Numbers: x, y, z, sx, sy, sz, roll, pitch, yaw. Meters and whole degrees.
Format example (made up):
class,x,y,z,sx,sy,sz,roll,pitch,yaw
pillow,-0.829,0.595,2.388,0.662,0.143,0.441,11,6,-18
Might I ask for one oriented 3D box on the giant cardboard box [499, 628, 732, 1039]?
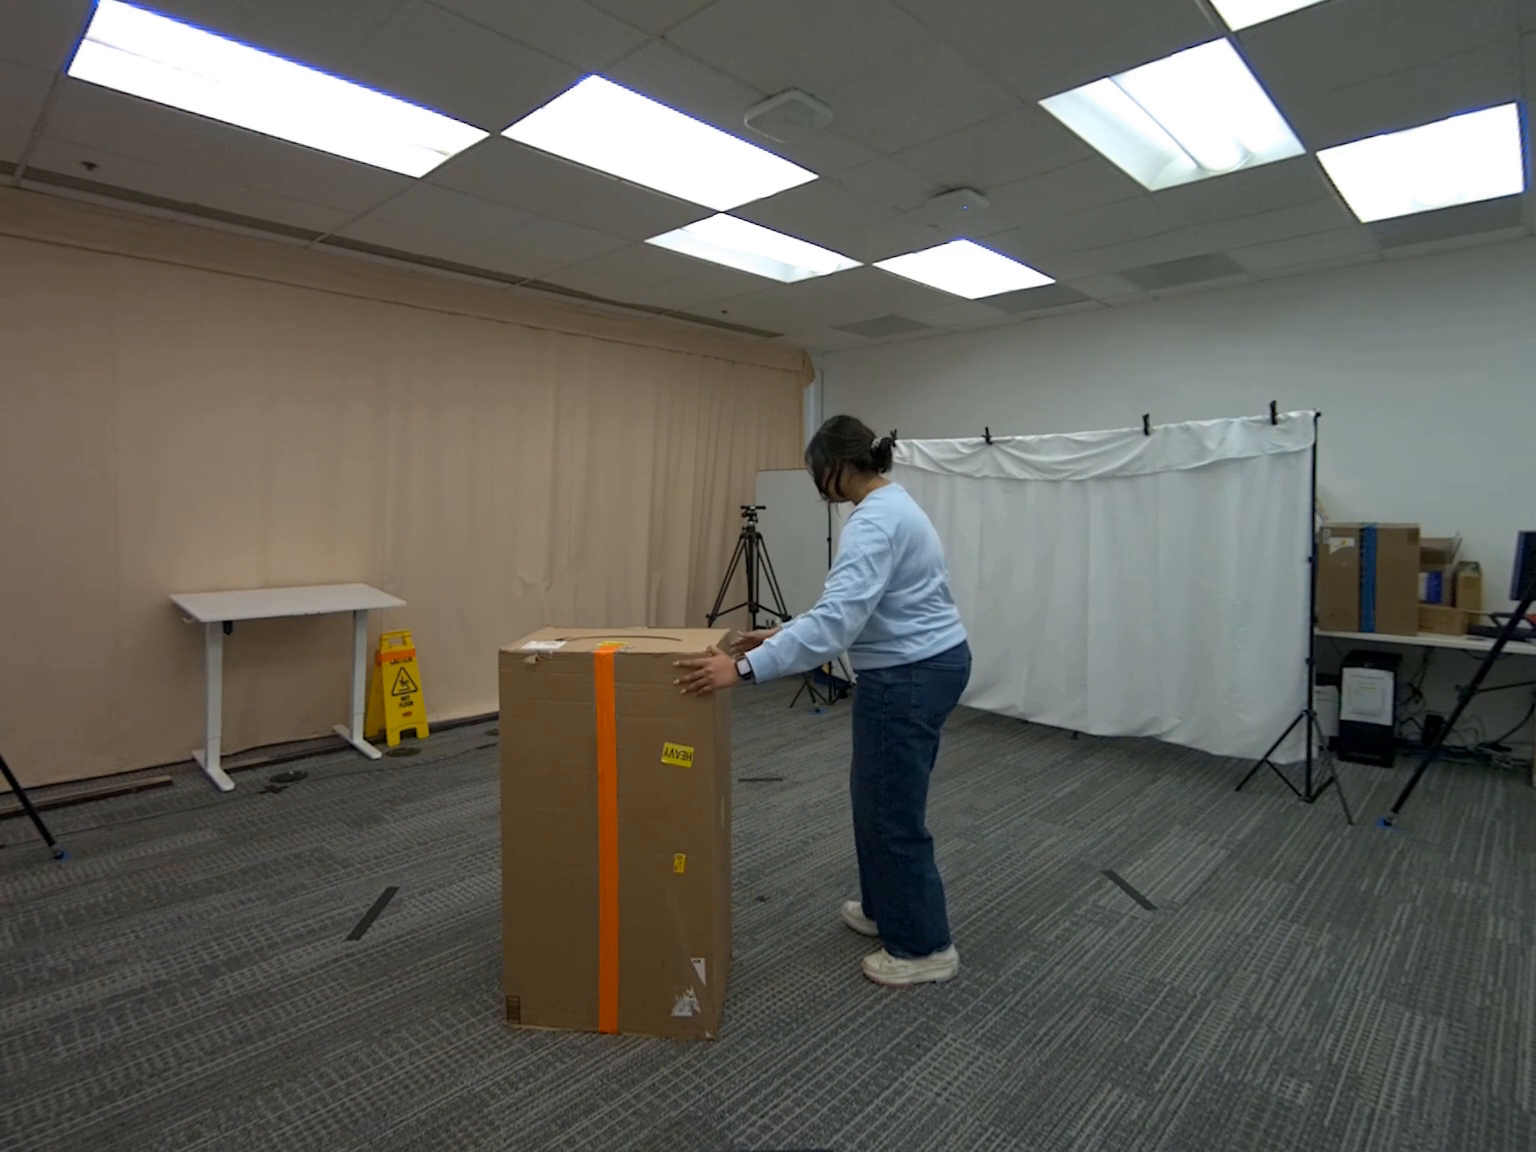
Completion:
class,x,y,z,sx,sy,sz,roll,pitch,yaw
giant cardboard box,-0.411,0.690,2.402,0.582,1.024,0.423,0,3,7
